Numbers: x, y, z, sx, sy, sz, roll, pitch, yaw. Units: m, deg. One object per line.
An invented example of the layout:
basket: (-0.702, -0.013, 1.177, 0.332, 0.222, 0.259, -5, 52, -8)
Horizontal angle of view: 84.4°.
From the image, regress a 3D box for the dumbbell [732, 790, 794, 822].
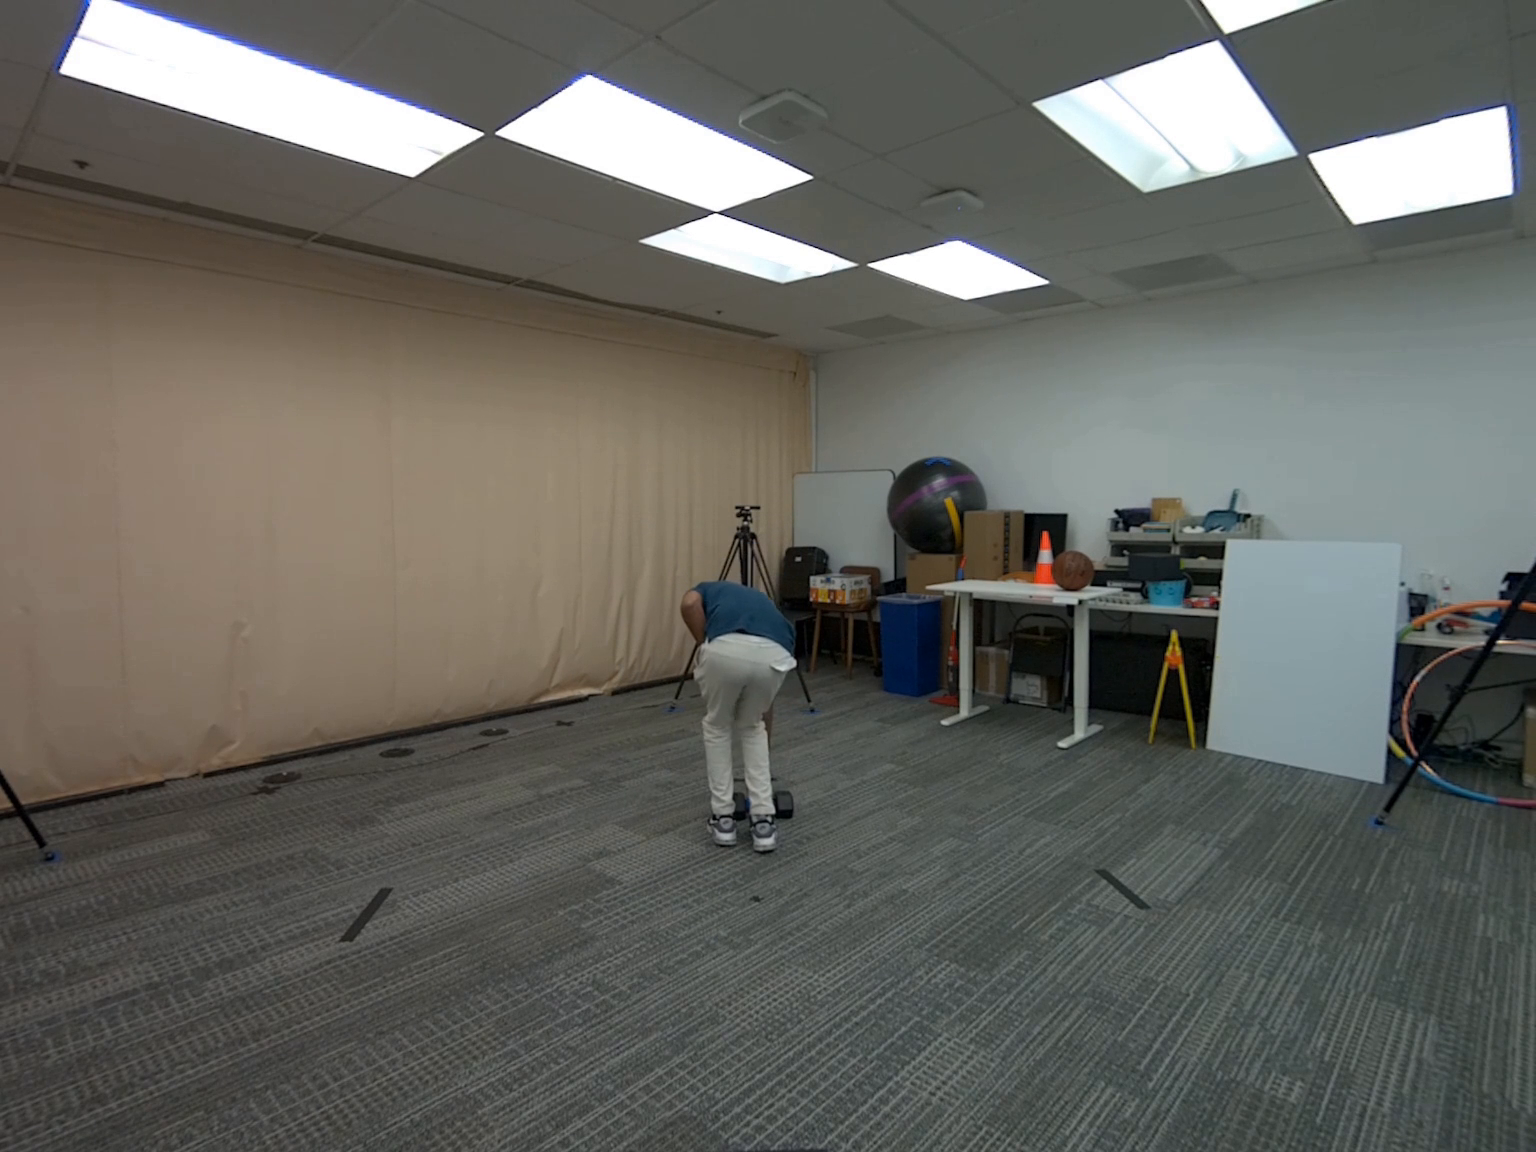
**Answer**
dumbbell: (-0.036, 1.024, 3.766, 0.292, 0.108, 0.124, -1, 2, -5)
